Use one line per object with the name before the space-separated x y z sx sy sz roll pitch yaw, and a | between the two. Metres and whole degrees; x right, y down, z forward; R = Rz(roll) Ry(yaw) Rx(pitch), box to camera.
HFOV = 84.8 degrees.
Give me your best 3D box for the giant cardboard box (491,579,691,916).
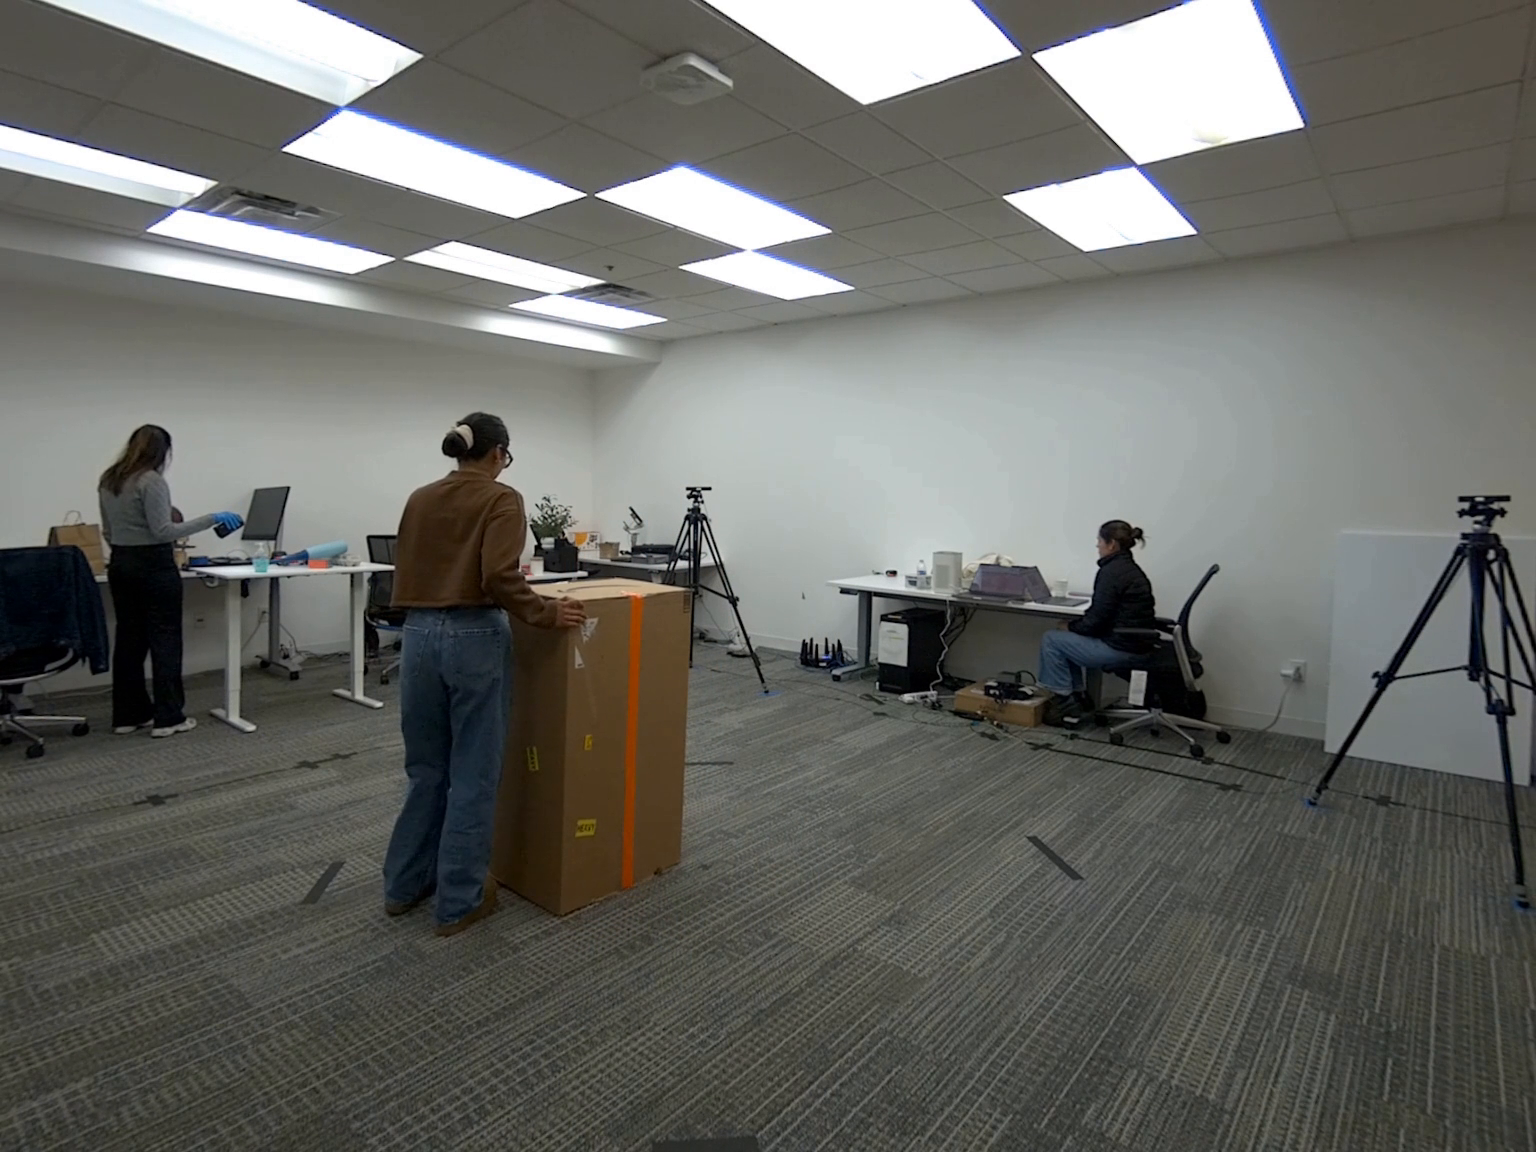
giant cardboard box | -0.645 0.553 3.062 0.441 1.023 0.560 5 4 39
